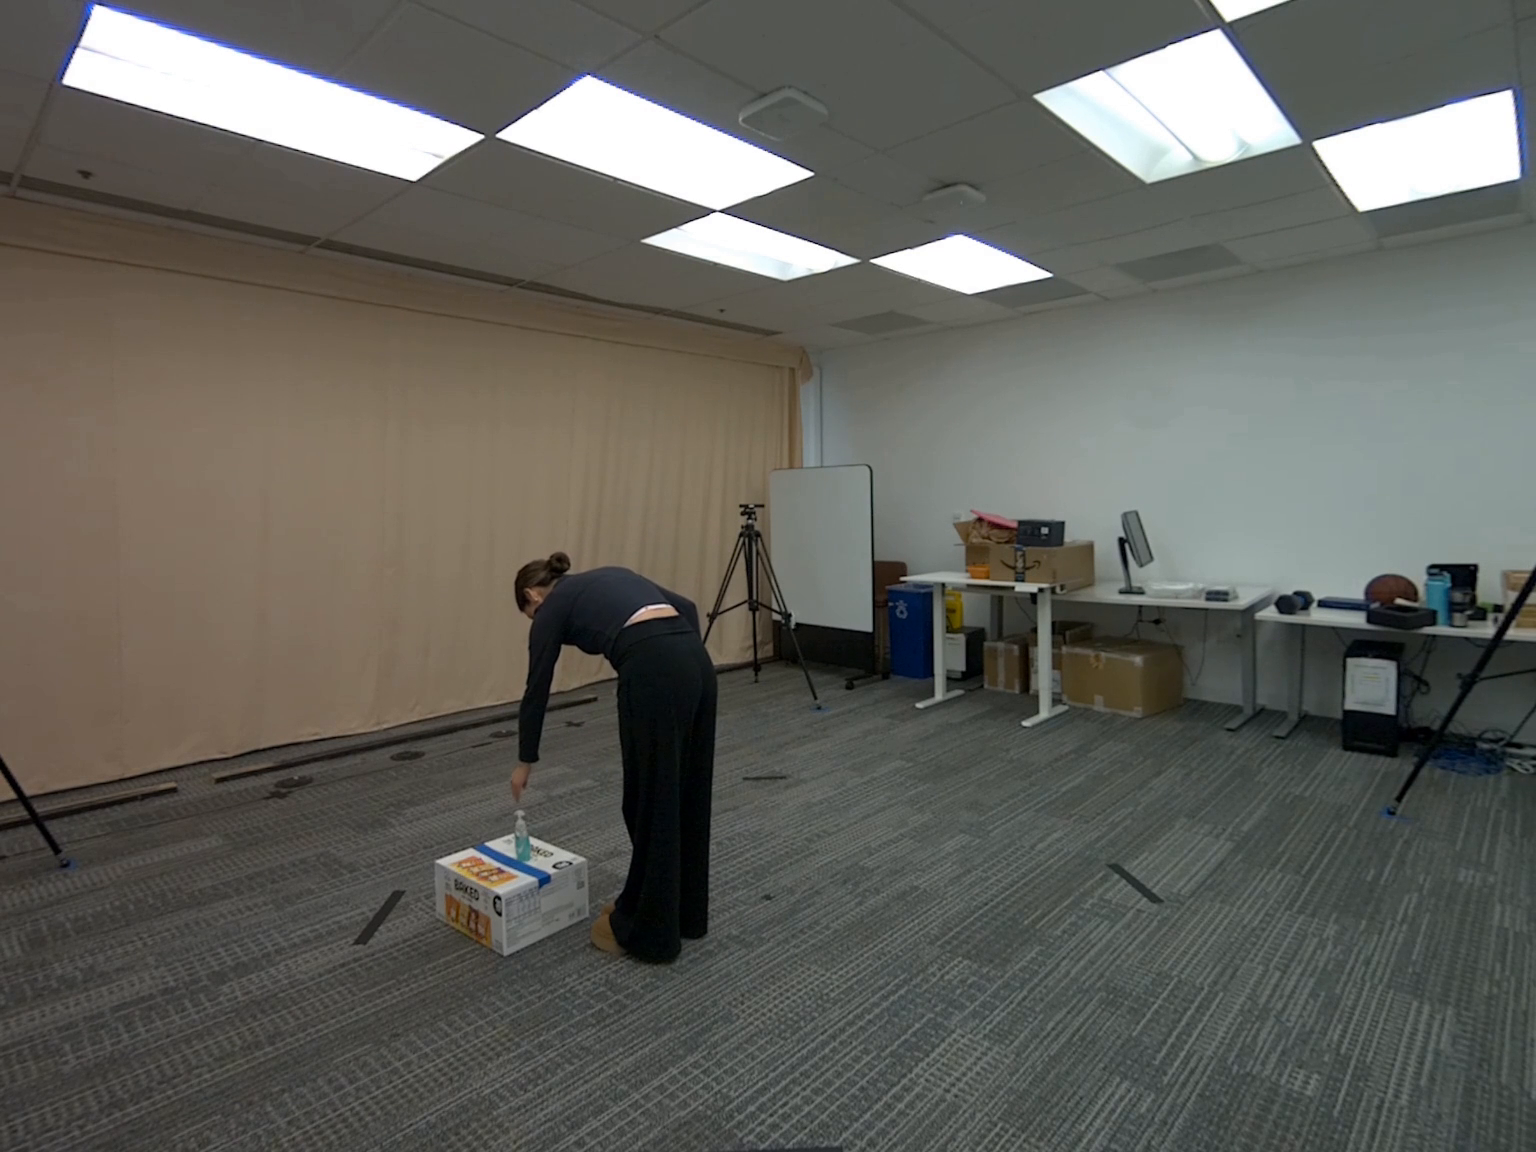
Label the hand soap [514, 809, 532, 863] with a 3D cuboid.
[{"bbox_3d":[-0.842,0.888,2.890,0.042,0.168,0.087,-7,4,-42],"label":"hand soap"}]
